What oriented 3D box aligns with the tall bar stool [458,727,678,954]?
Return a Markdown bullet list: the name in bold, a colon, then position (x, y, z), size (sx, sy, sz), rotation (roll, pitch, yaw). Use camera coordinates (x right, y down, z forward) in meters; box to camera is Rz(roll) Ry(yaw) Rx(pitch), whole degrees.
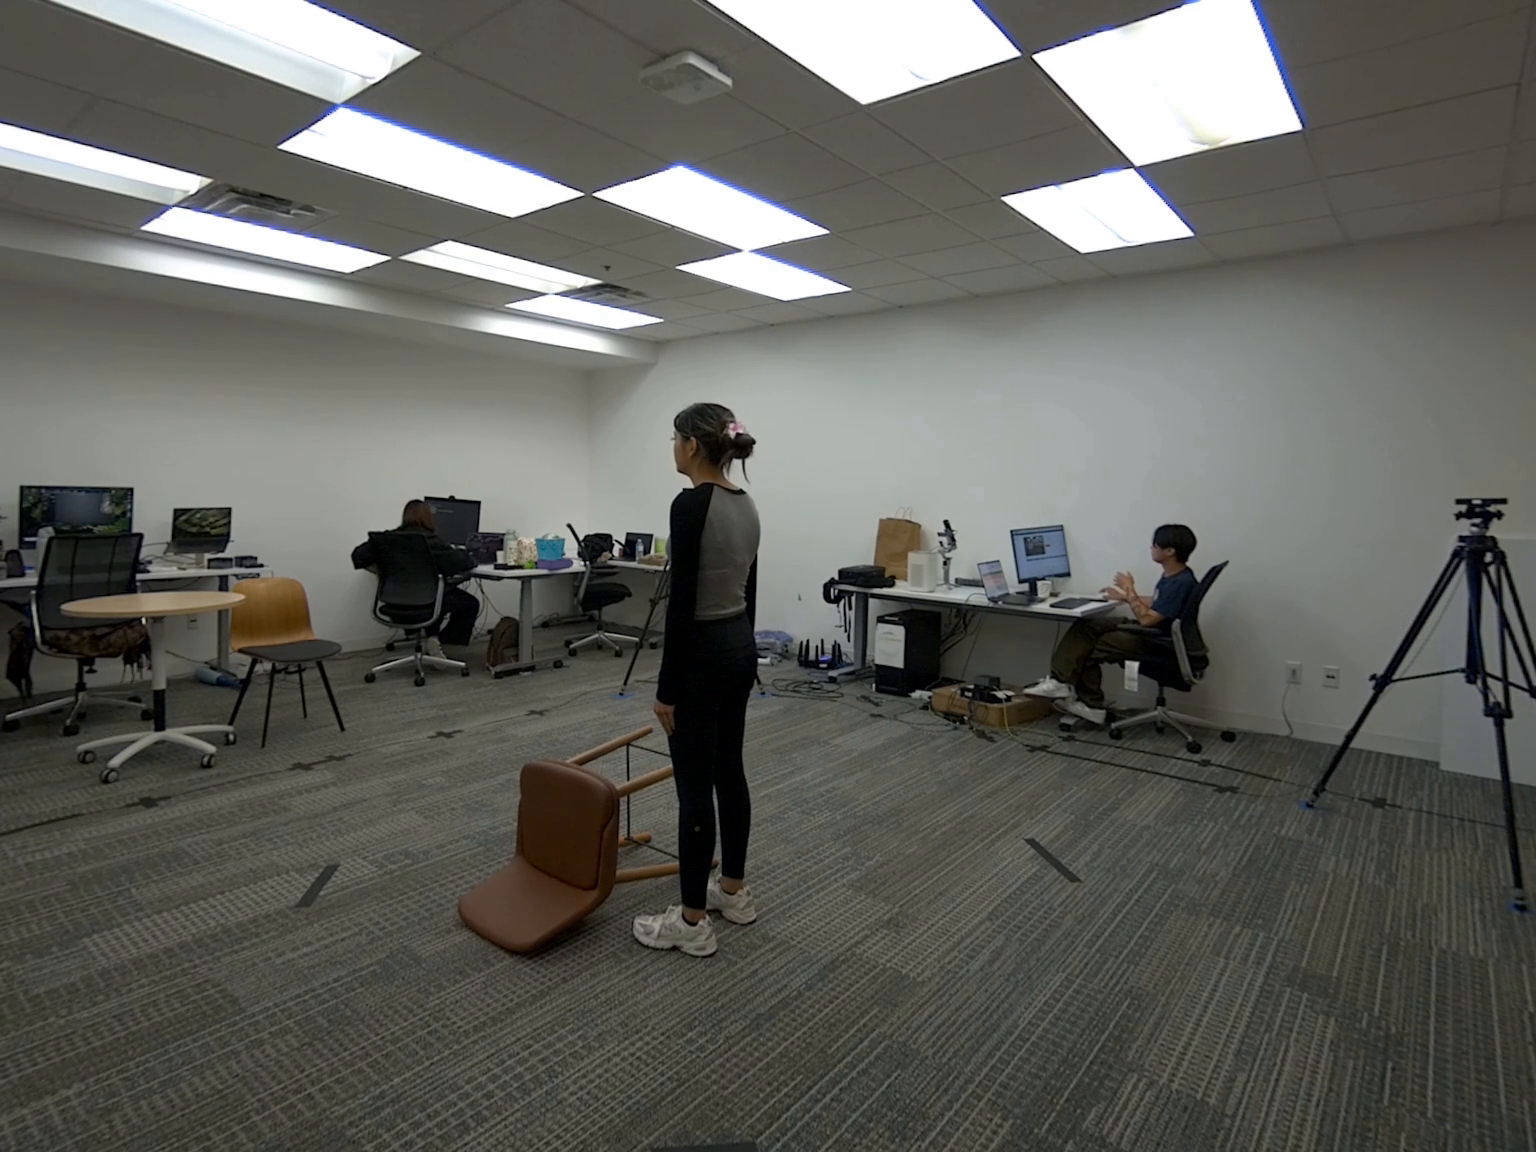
- **tall bar stool**: position (-0.593, 0.853, 2.914), size (0.472, 0.466, 0.864), rotation (5, 7, 38)
